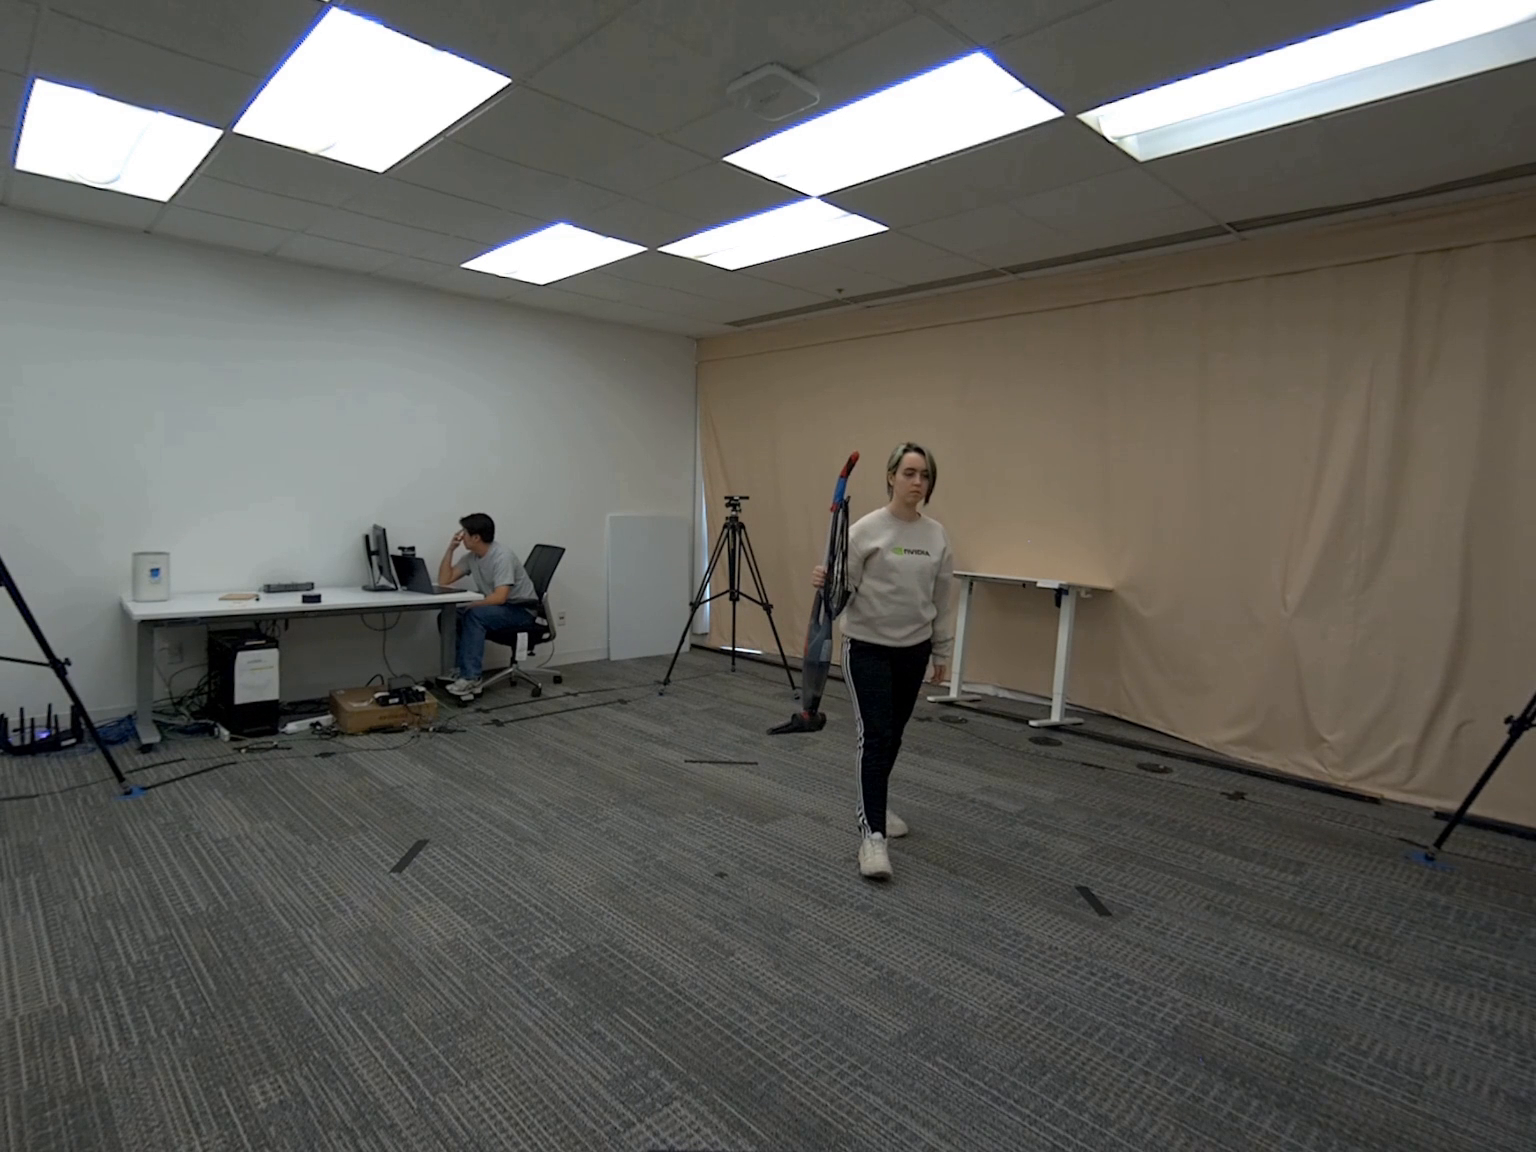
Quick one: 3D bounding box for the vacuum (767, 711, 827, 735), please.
[{"bbox_3d":[0.216,0.063,3.148,0.246,1.044,0.148,4,10,-38],"label":"vacuum"}]
